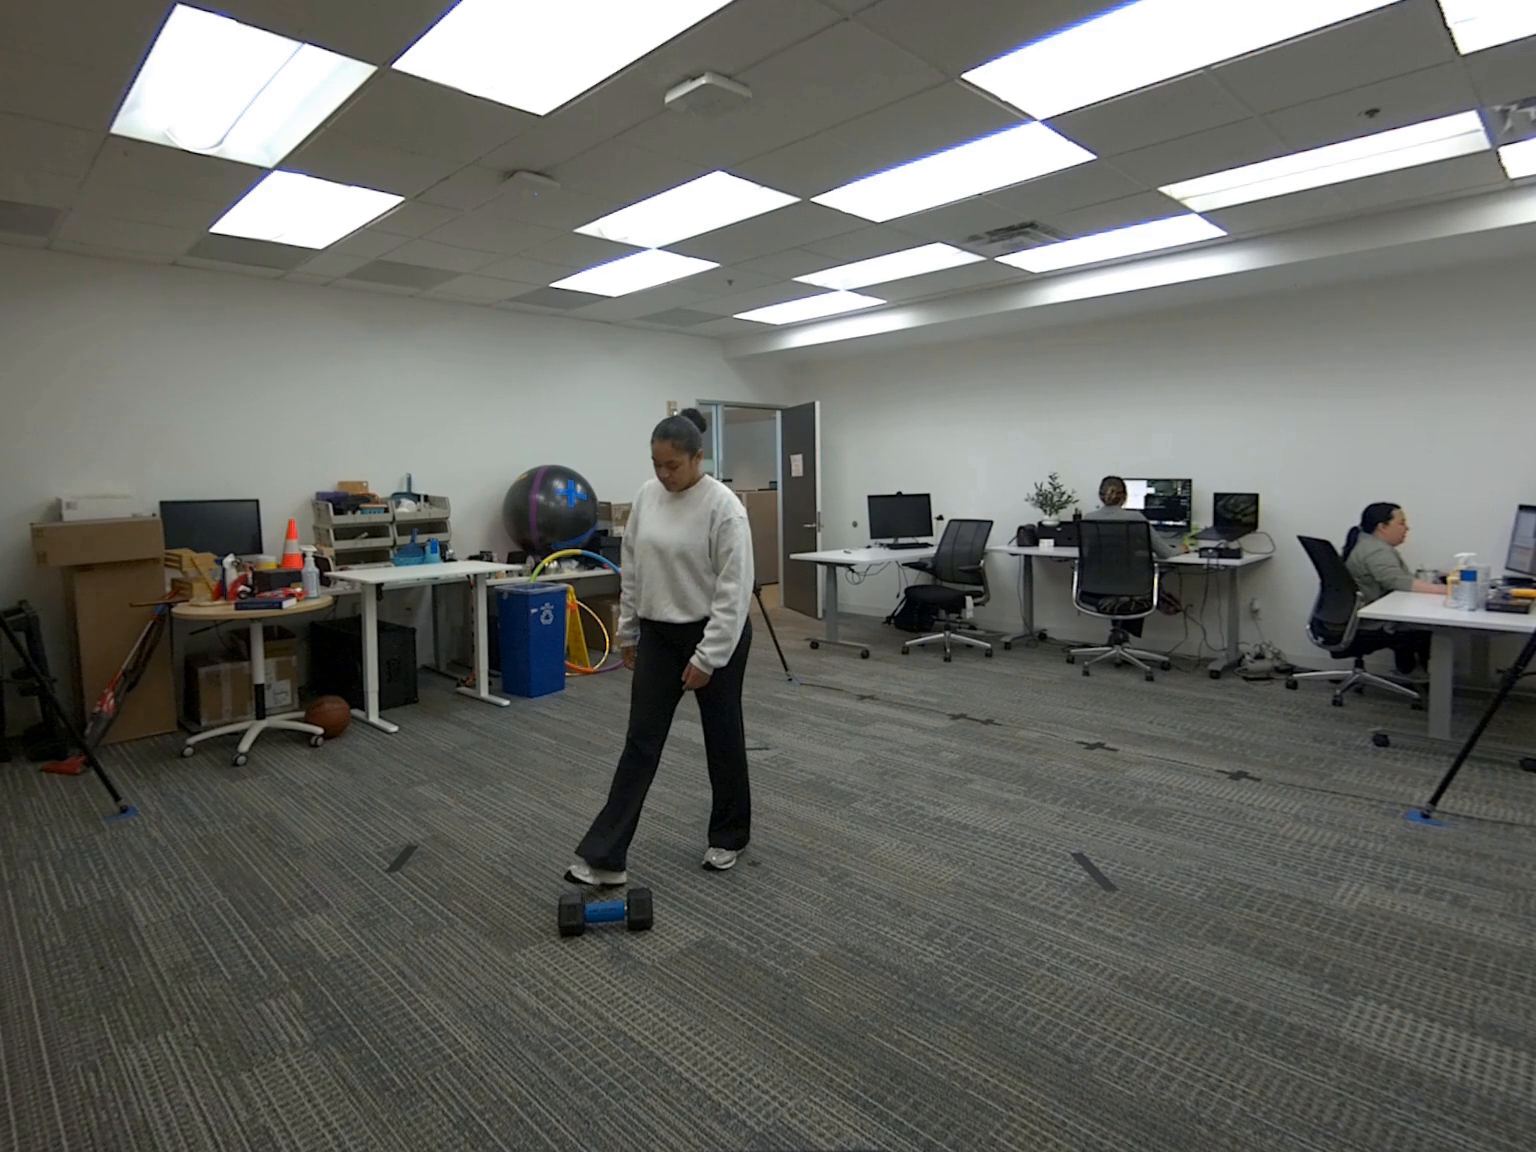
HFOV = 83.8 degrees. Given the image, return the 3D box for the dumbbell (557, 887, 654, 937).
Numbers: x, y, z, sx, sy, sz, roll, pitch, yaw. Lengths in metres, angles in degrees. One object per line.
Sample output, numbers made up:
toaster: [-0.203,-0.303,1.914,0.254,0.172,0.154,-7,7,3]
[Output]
dumbbell: [-0.503,1.052,2.673,0.291,0.120,0.112,-1,35,-7]
